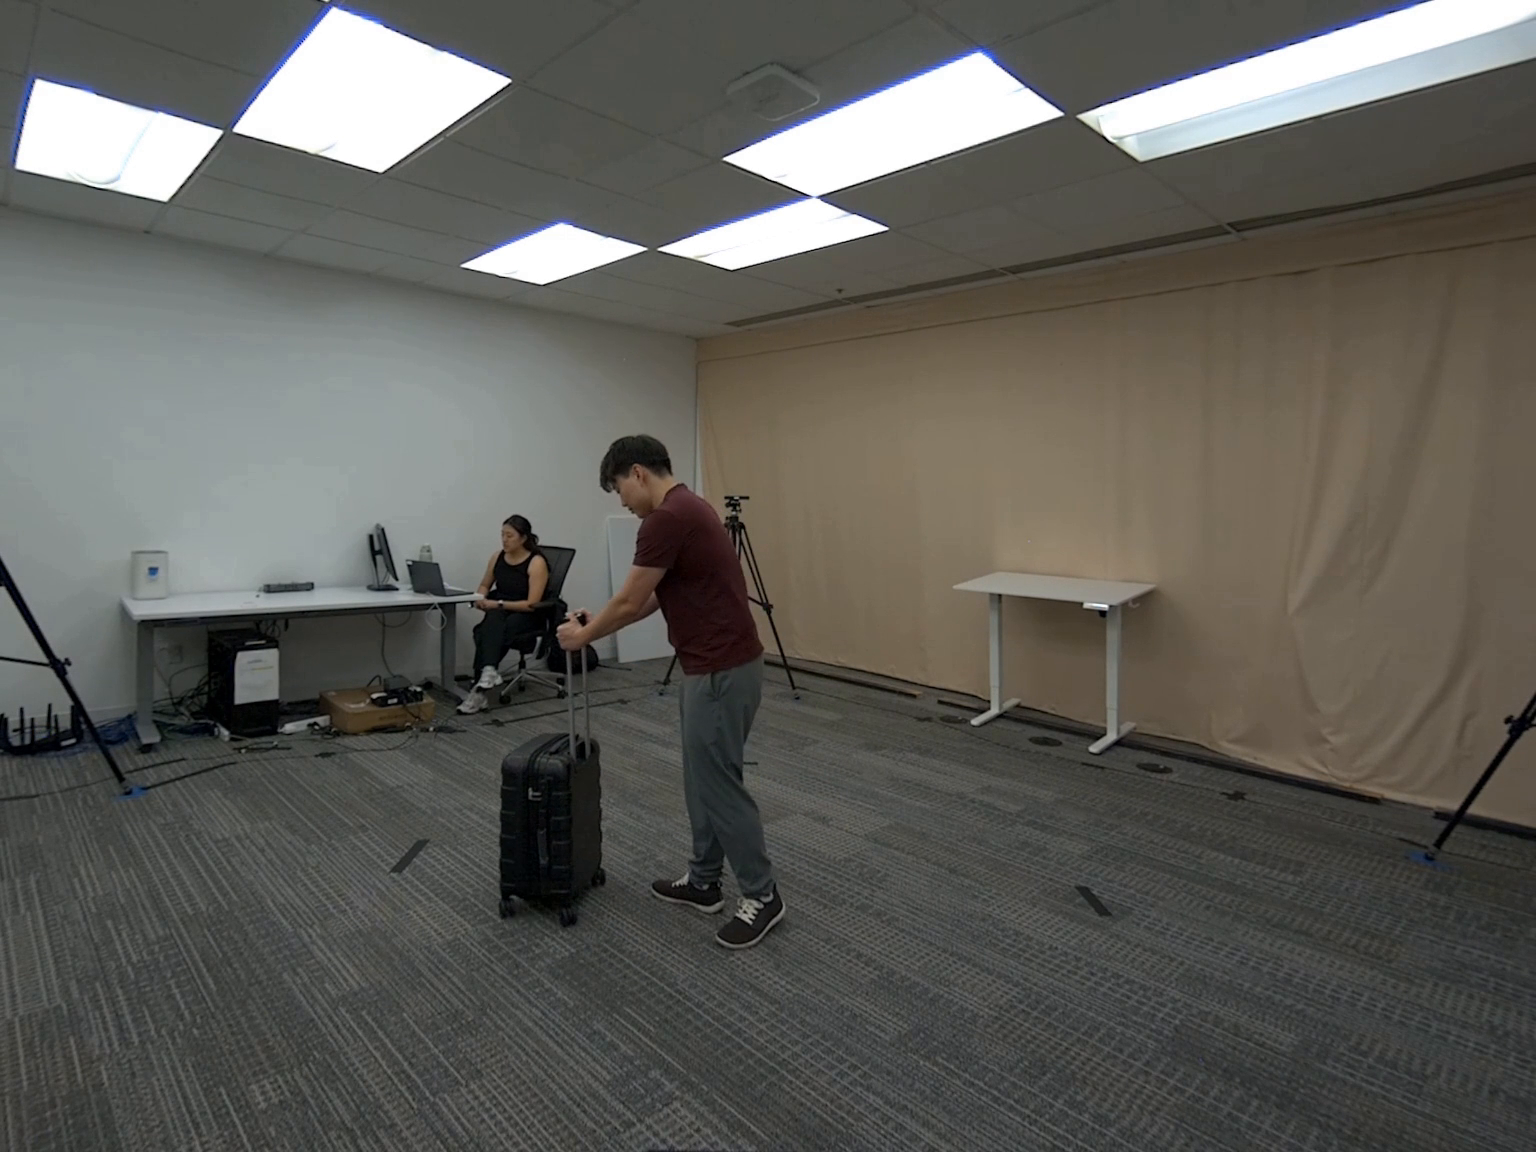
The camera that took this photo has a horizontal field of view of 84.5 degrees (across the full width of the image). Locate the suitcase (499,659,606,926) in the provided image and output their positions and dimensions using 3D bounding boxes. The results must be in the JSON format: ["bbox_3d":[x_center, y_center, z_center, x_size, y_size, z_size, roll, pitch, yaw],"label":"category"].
[{"bbox_3d":[-0.746,0.632,2.888,0.259,0.977,0.381,-2,2,10],"label":"suitcase"}]
